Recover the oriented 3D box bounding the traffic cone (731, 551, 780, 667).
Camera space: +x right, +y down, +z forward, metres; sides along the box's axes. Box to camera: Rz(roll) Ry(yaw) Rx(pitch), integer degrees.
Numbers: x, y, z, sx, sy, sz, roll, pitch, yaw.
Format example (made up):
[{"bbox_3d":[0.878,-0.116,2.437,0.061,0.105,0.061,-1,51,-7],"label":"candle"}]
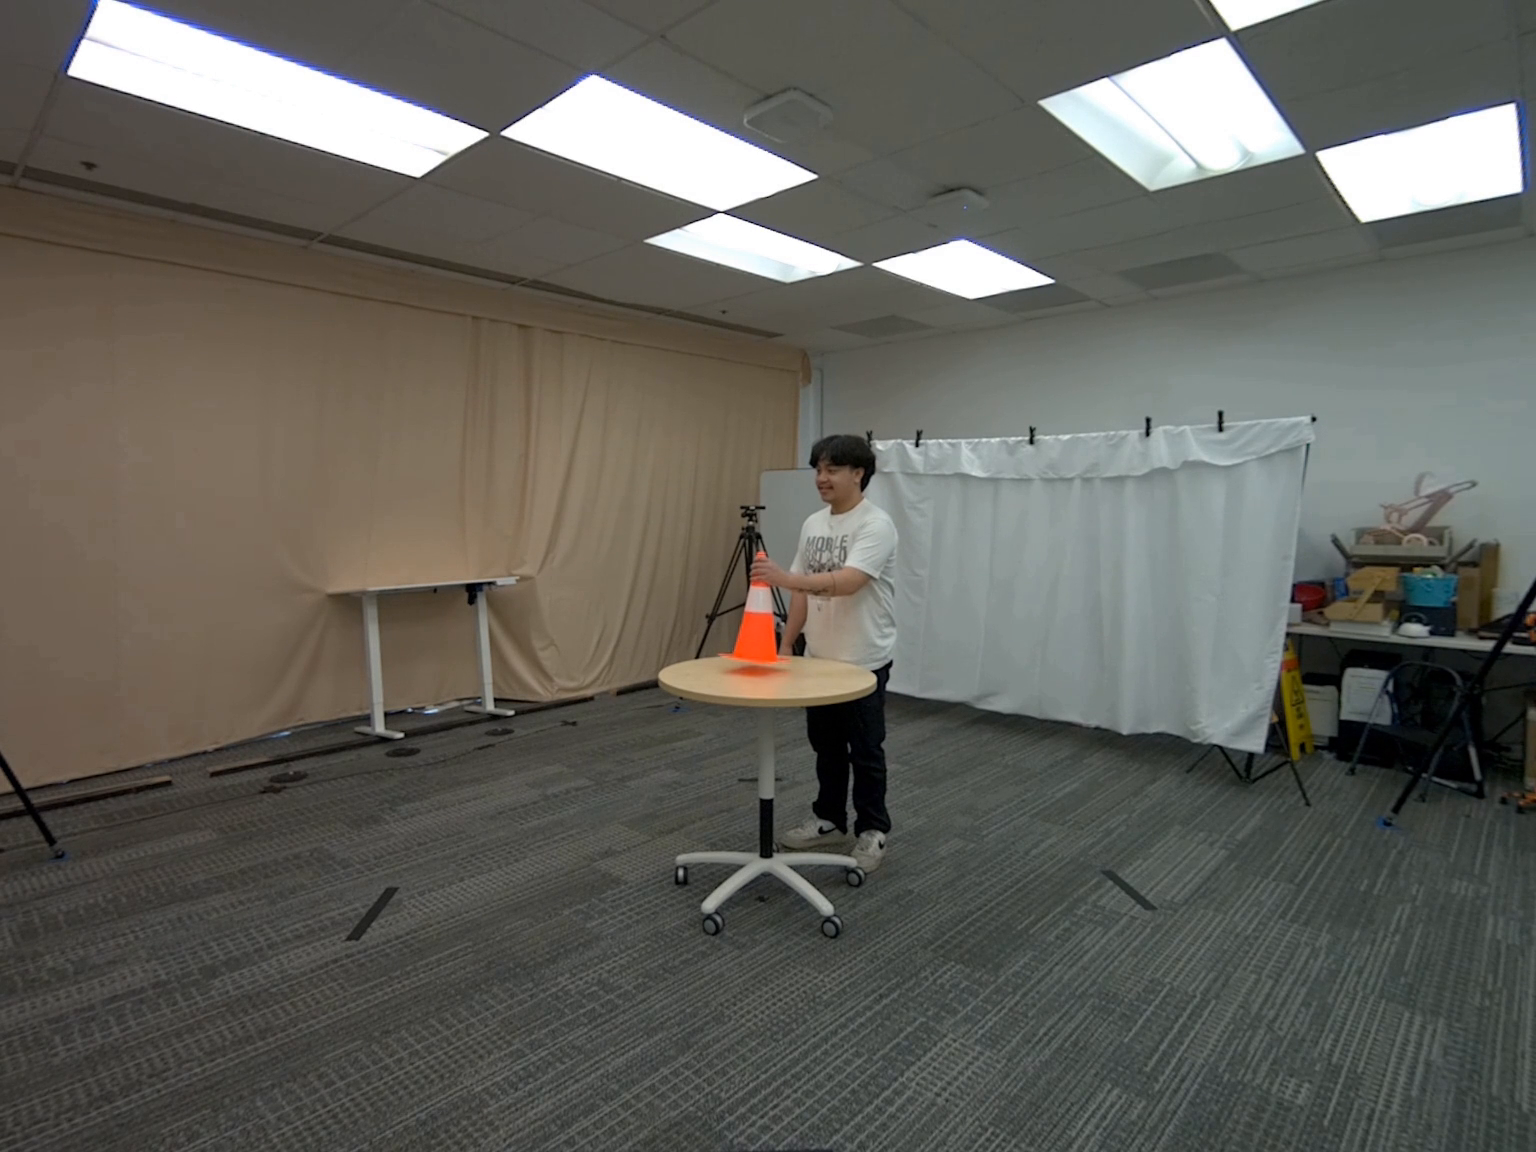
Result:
[{"bbox_3d":[-0.029,0.111,3.028,0.211,0.383,0.197,4,0,30],"label":"traffic cone"}]
